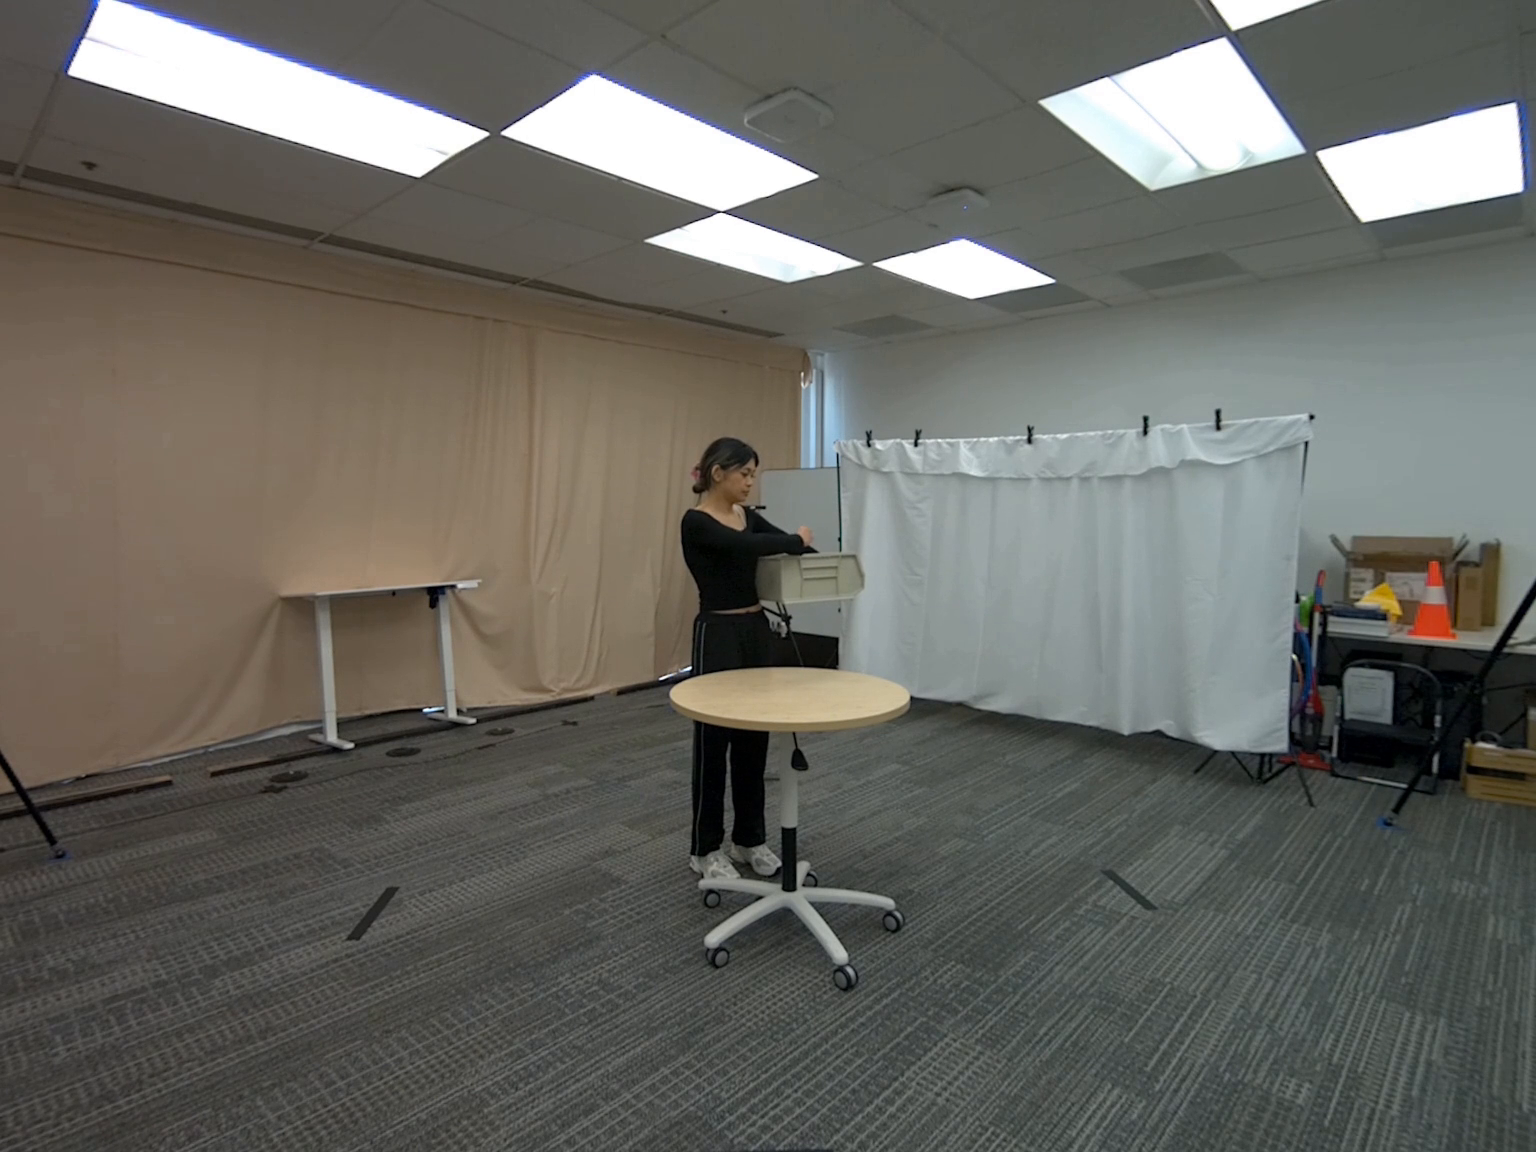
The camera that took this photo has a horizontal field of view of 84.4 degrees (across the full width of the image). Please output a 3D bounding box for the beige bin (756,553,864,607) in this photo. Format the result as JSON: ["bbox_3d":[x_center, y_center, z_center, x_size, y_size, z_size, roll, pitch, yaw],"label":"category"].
[{"bbox_3d":[0.112,0.000,3.315,0.368,0.189,0.434,-3,3,-28],"label":"beige bin"}]
